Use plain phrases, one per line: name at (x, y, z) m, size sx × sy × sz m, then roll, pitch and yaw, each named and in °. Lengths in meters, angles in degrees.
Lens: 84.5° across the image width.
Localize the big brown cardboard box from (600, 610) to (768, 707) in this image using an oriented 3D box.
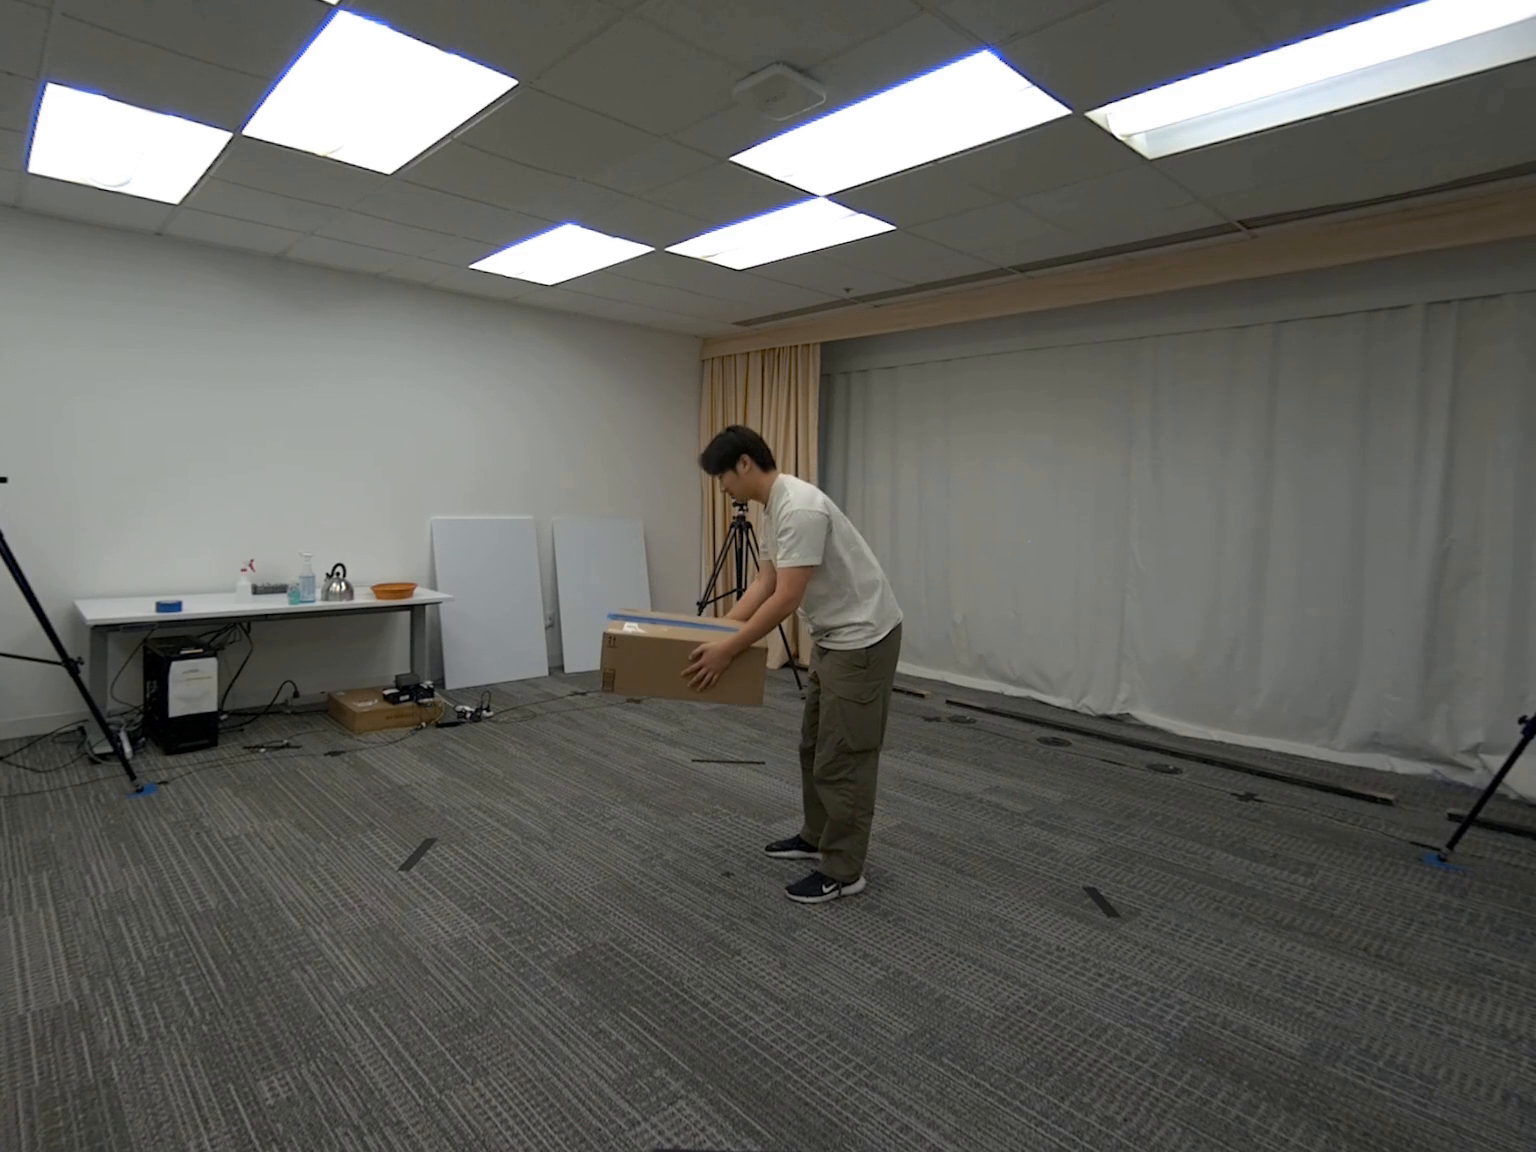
big brown cardboard box at (-0.306, 0.291, 3.060) m, size 0.588 × 0.232 × 0.420 m, roll 6°, pitch 8°, yaw -2°
